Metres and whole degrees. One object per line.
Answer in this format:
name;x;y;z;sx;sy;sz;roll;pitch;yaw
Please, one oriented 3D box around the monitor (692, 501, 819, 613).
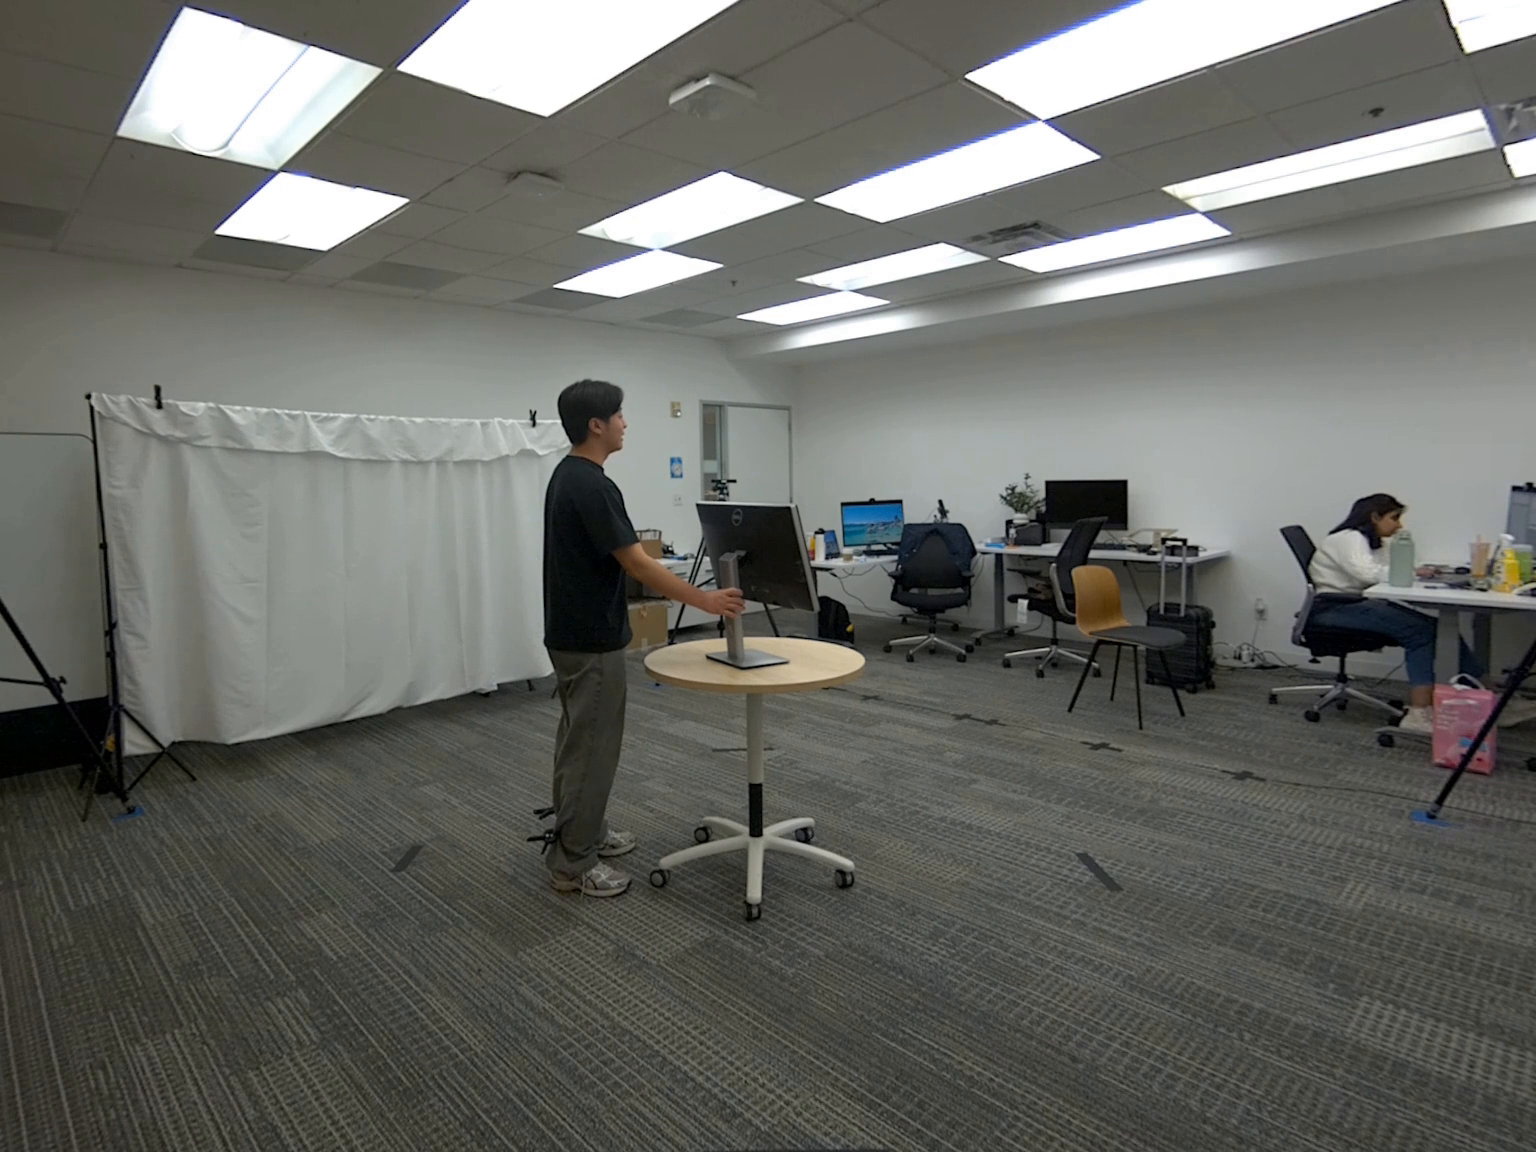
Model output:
monitor;-0.071;0.030;2.932;0.216;0.564;0.578;-2;6;-33
